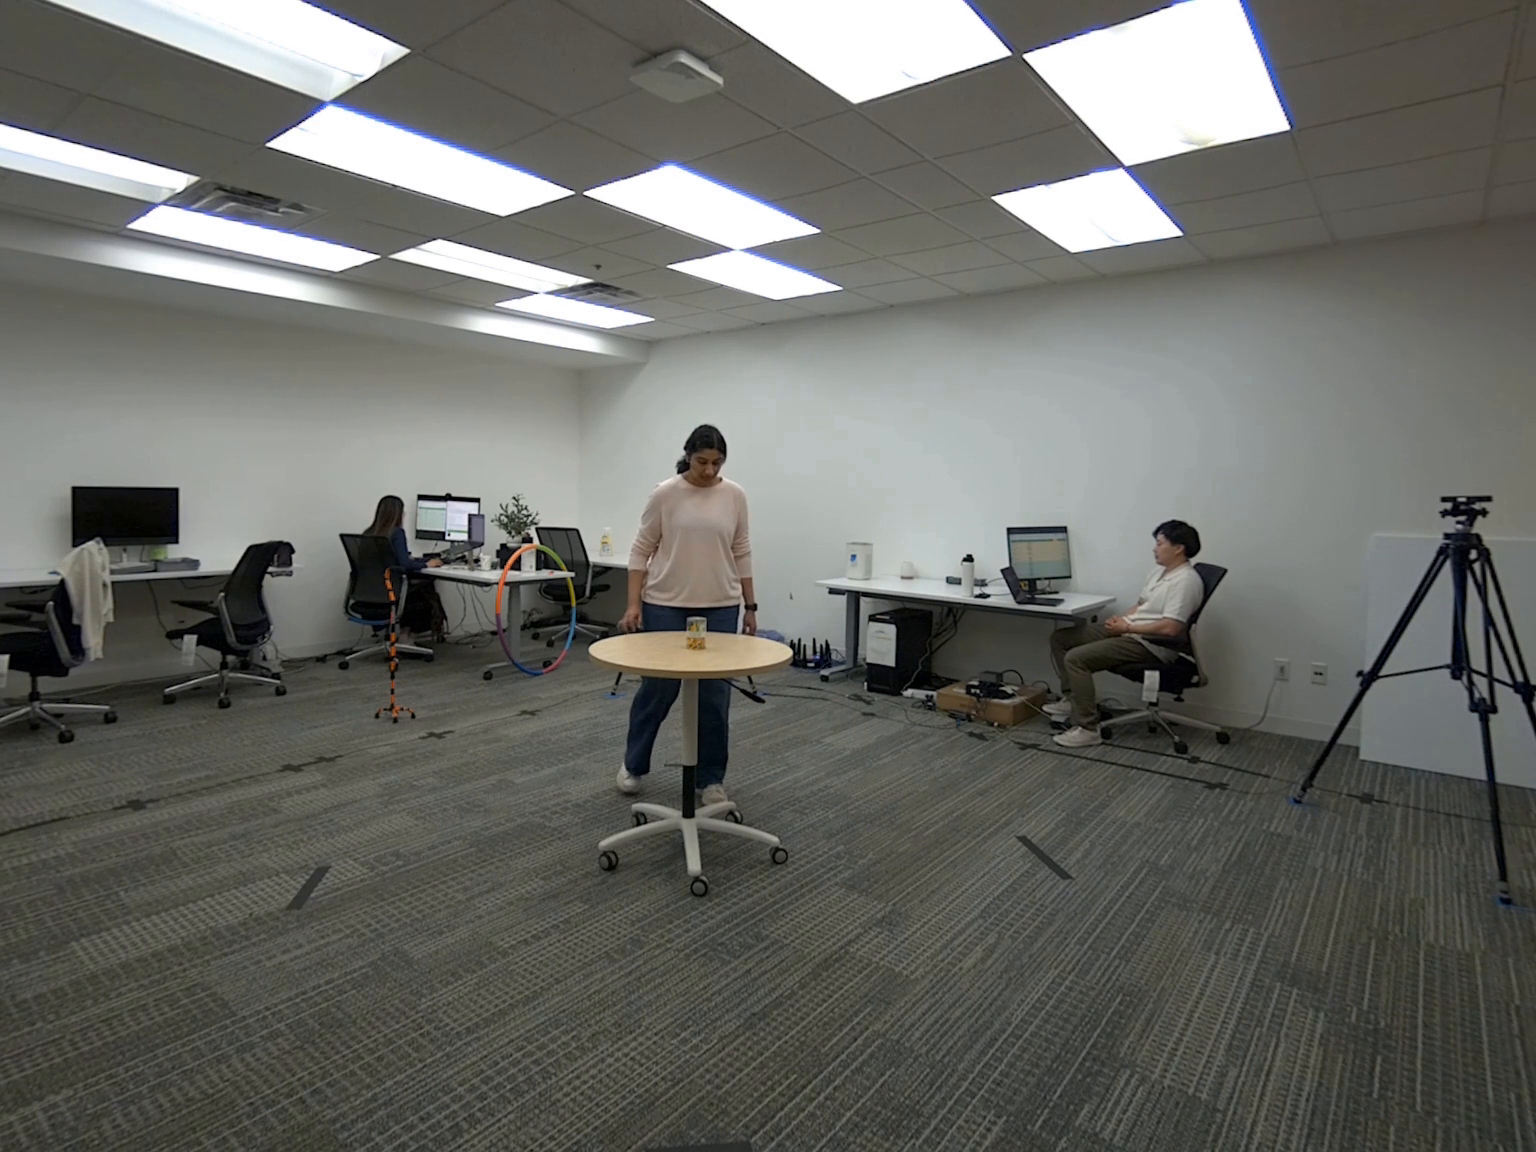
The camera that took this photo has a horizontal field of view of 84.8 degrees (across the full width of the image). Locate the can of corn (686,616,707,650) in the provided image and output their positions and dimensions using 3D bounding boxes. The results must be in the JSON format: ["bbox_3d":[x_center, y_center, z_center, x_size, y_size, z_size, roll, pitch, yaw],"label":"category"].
[{"bbox_3d":[-0.283,0.217,3.226,0.074,0.111,0.074,0,3,-2],"label":"can of corn"}]
